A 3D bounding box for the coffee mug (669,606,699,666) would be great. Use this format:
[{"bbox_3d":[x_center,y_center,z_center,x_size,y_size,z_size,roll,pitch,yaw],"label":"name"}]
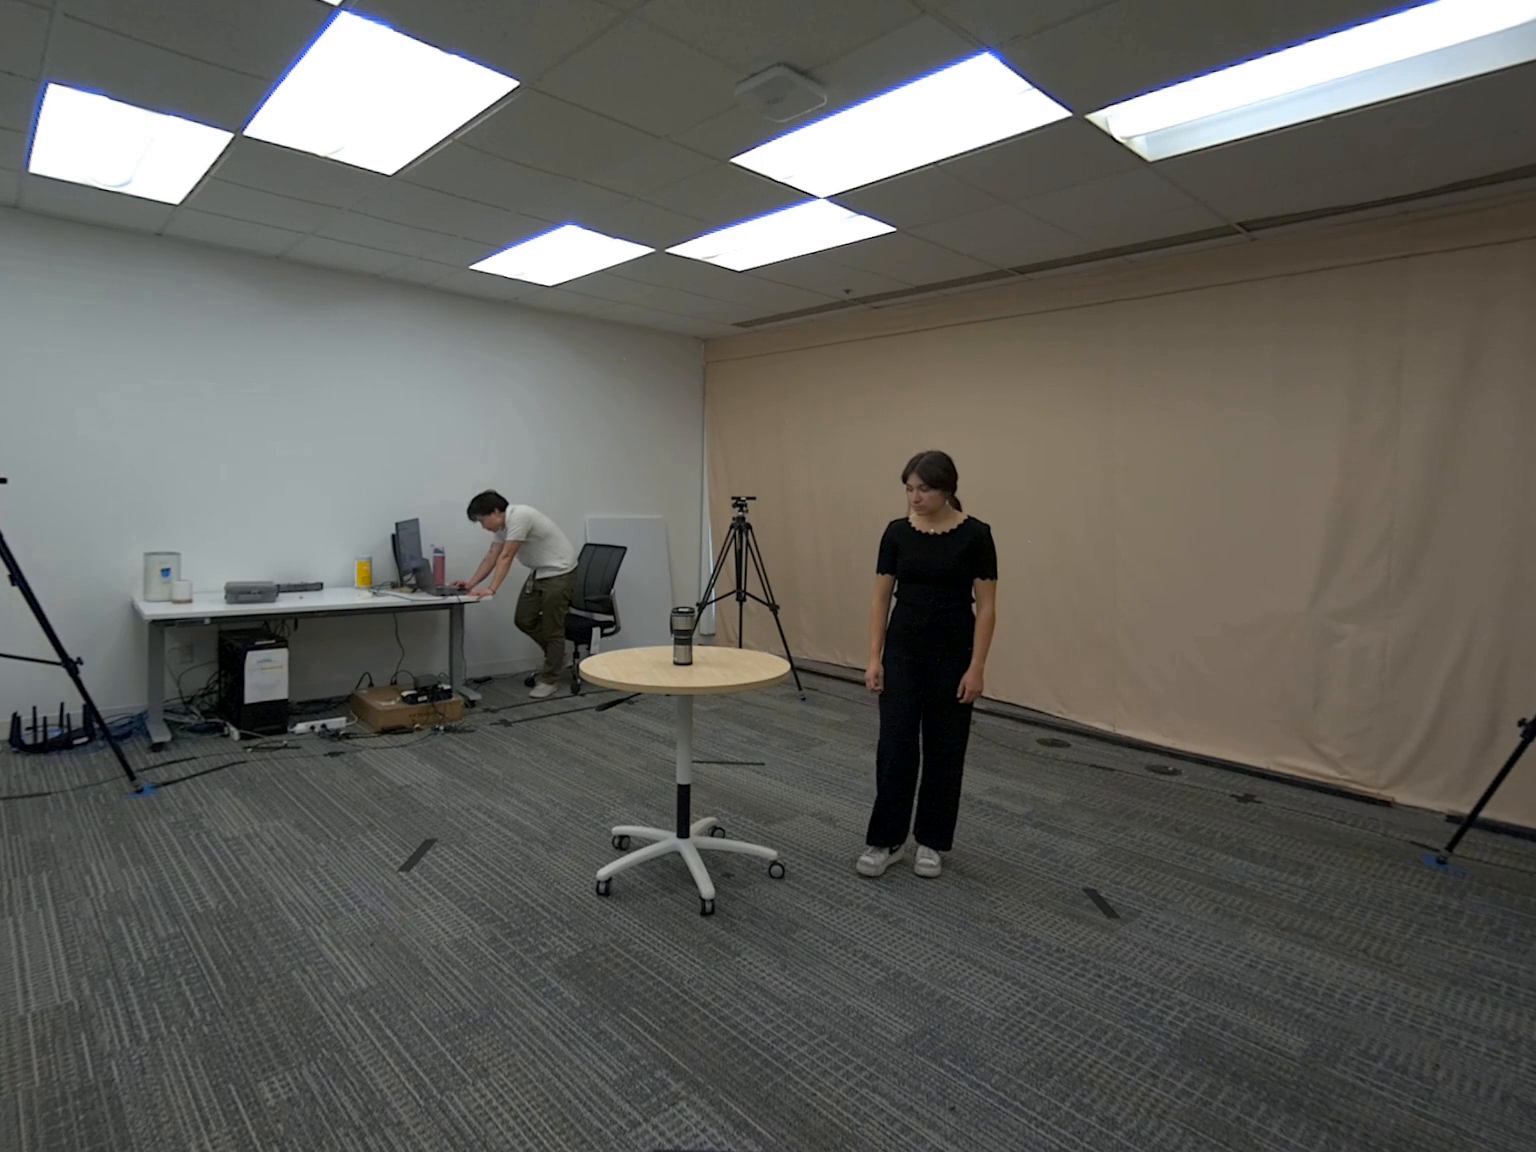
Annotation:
[{"bbox_3d":[-0.306,0.221,3.073,0.089,0.202,0.120,0,5,21],"label":"coffee mug"}]
